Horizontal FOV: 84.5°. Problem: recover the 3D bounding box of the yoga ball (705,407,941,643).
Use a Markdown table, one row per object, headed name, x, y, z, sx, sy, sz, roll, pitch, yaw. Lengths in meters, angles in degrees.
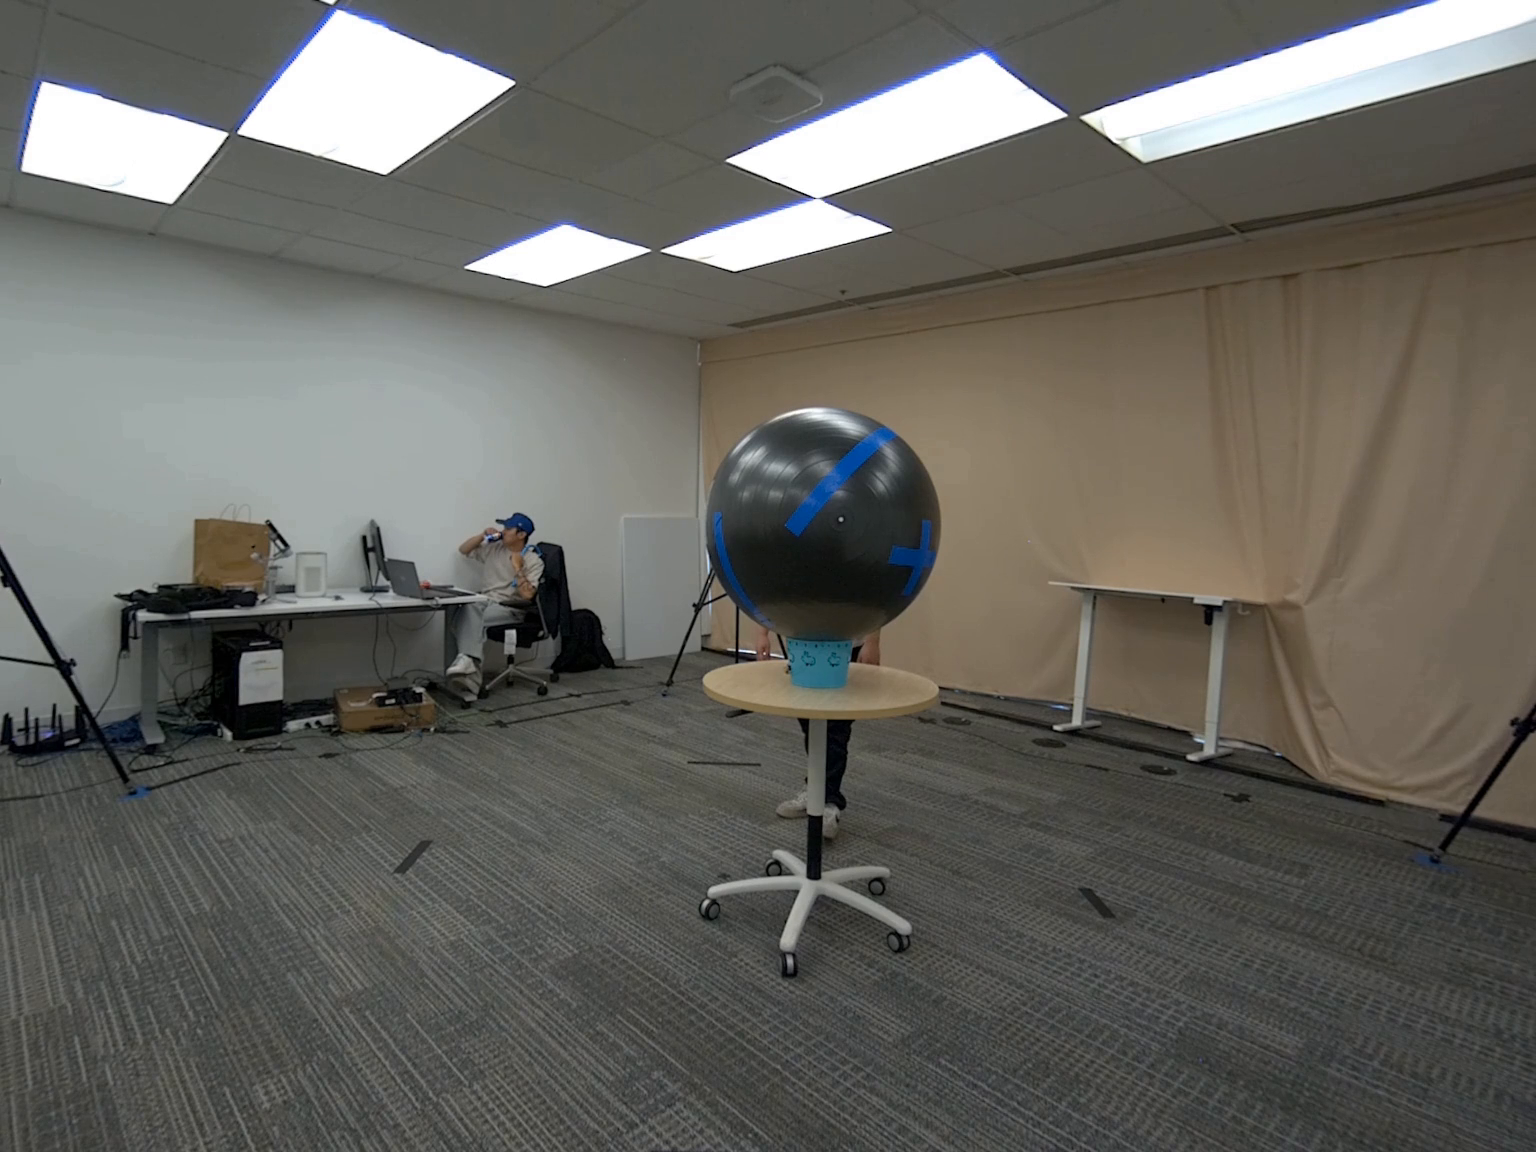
| name | x | y | z | sx | sy | sz | roll | pitch | yaw |
| --- | --- | --- | --- | --- | --- | --- | --- | --- | --- |
| yoga ball | 0.167 | -0.156 | 2.732 | 0.757 | 0.756 | 0.760 | 1 | 4 | -1 |
